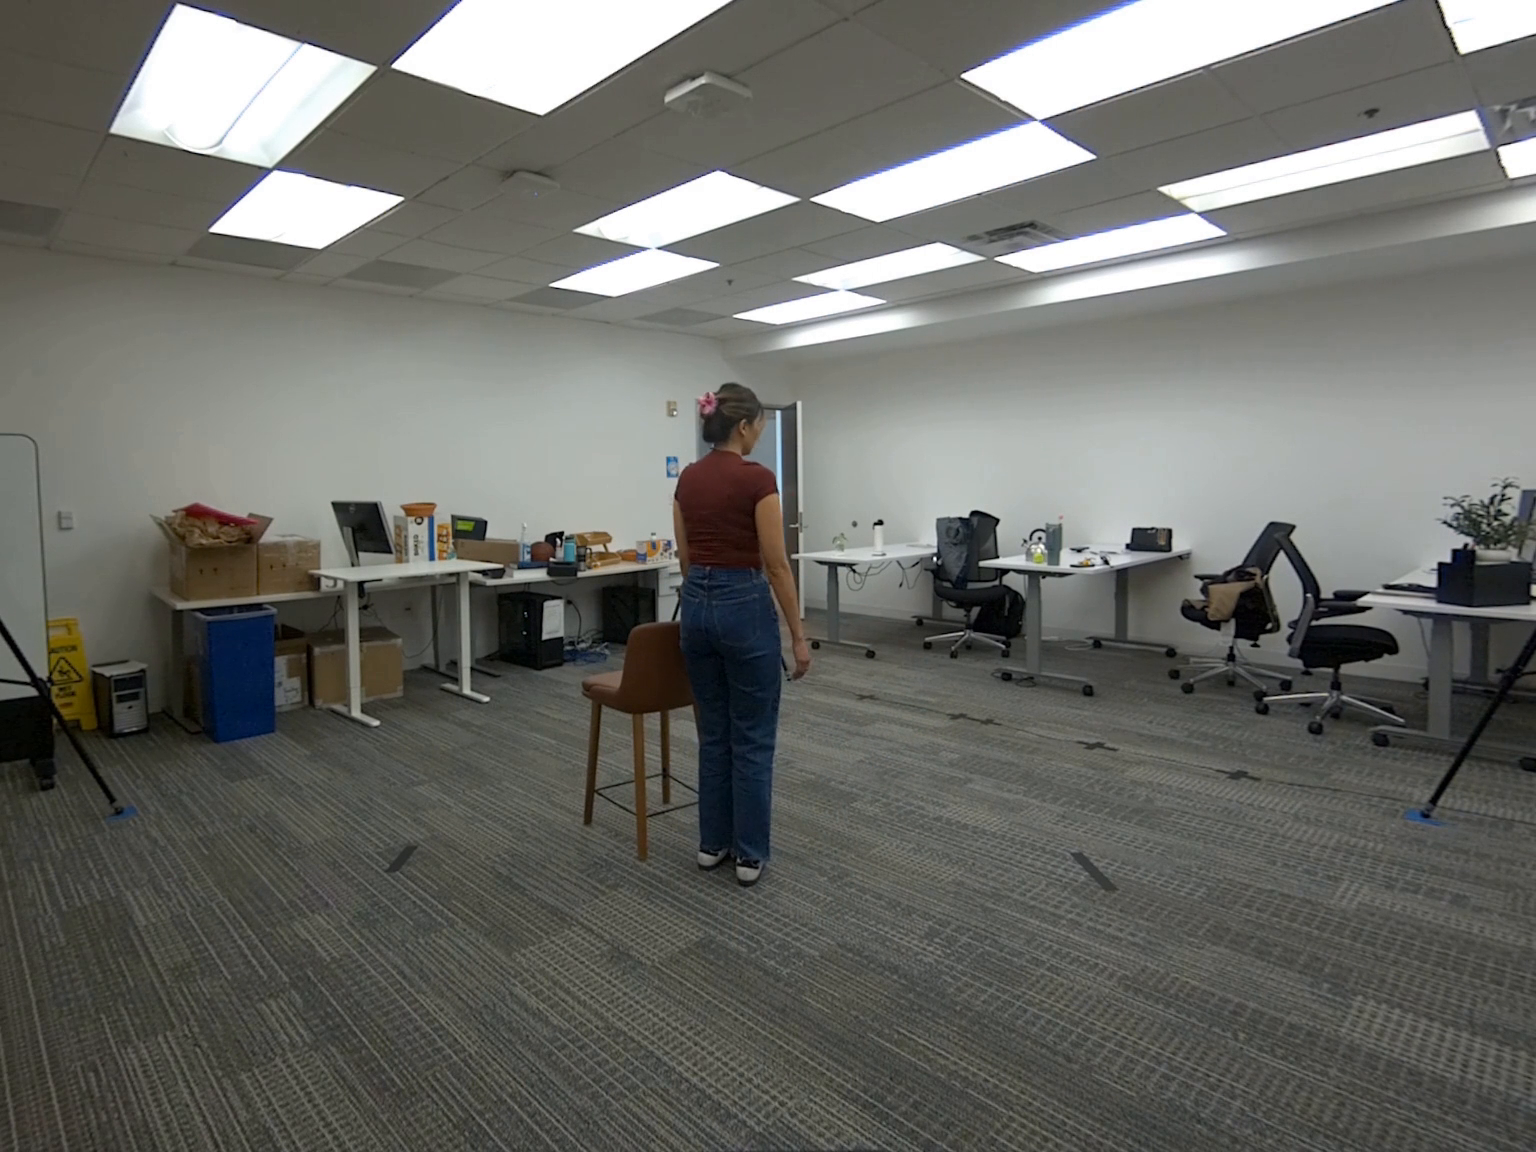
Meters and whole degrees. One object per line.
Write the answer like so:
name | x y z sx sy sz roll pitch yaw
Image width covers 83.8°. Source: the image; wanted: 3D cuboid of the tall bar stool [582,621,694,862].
tall bar stool | -0.465 0.584 3.401 0.445 0.885 0.482 -4 7 -36
